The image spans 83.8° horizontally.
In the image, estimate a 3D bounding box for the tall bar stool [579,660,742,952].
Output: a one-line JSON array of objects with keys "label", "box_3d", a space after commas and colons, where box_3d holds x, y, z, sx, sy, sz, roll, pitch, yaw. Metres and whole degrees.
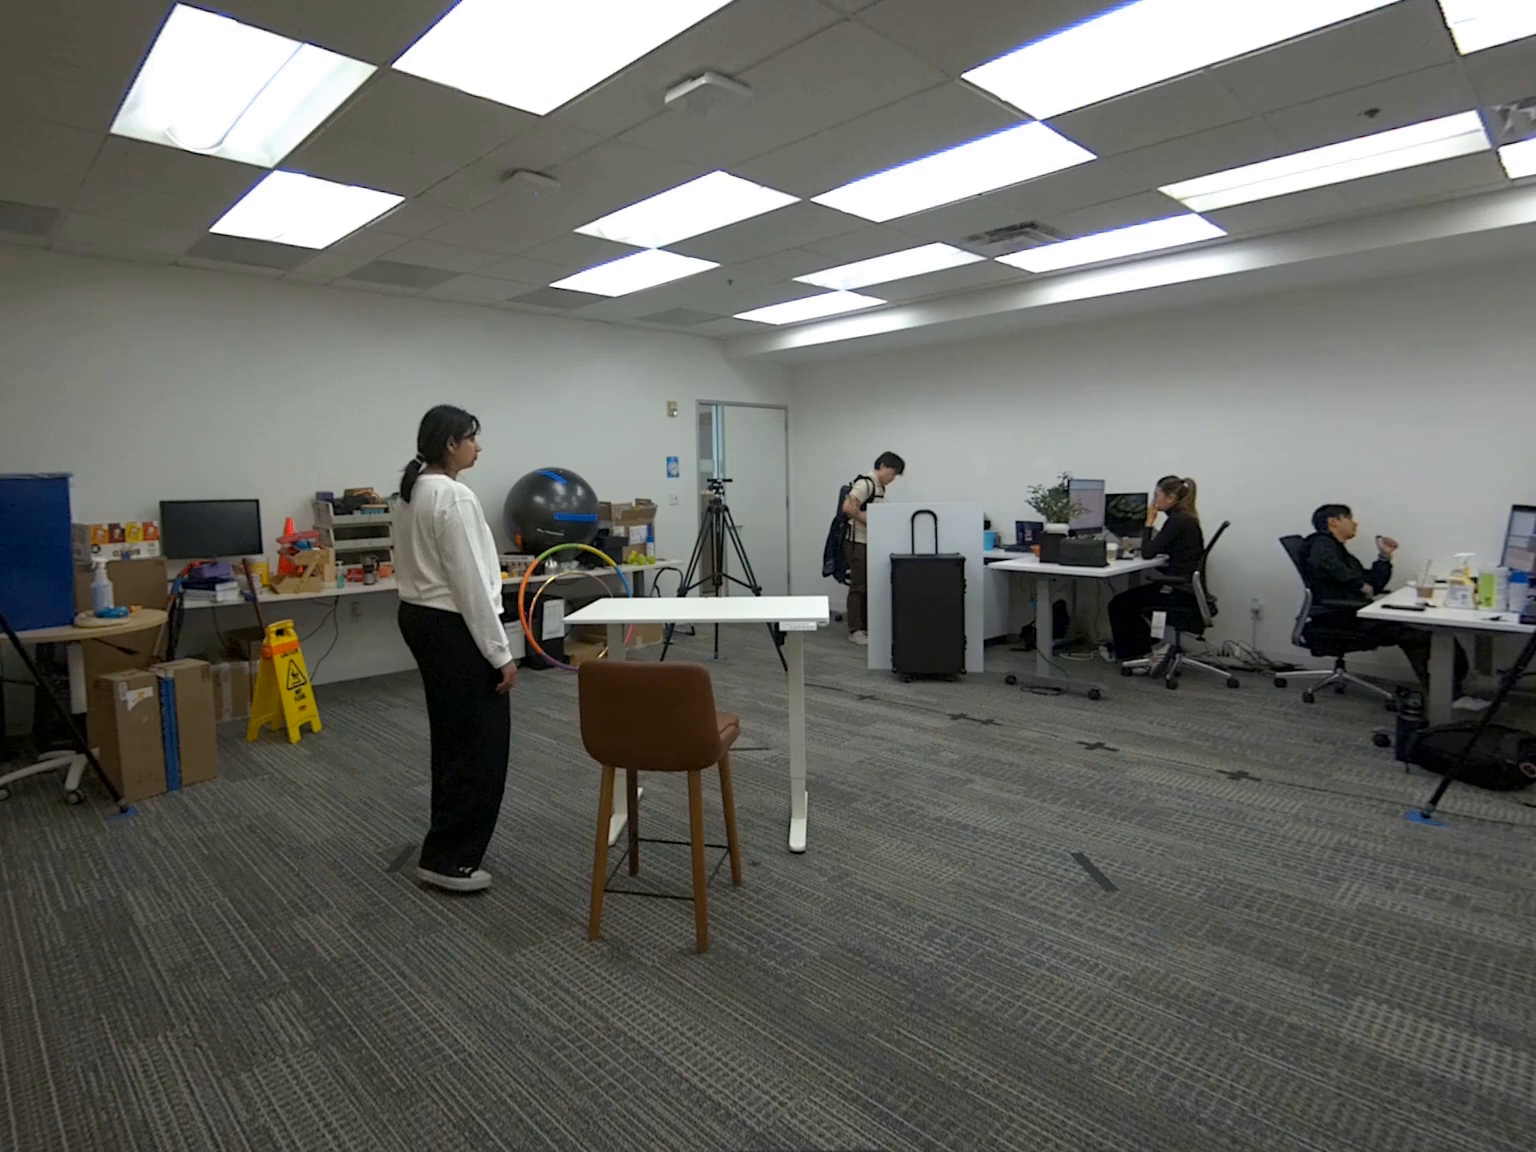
[{"label": "tall bar stool", "box_3d": [-0.329, 0.661, 2.747, 0.463, 0.885, 0.464, 0, 6, 13]}]
